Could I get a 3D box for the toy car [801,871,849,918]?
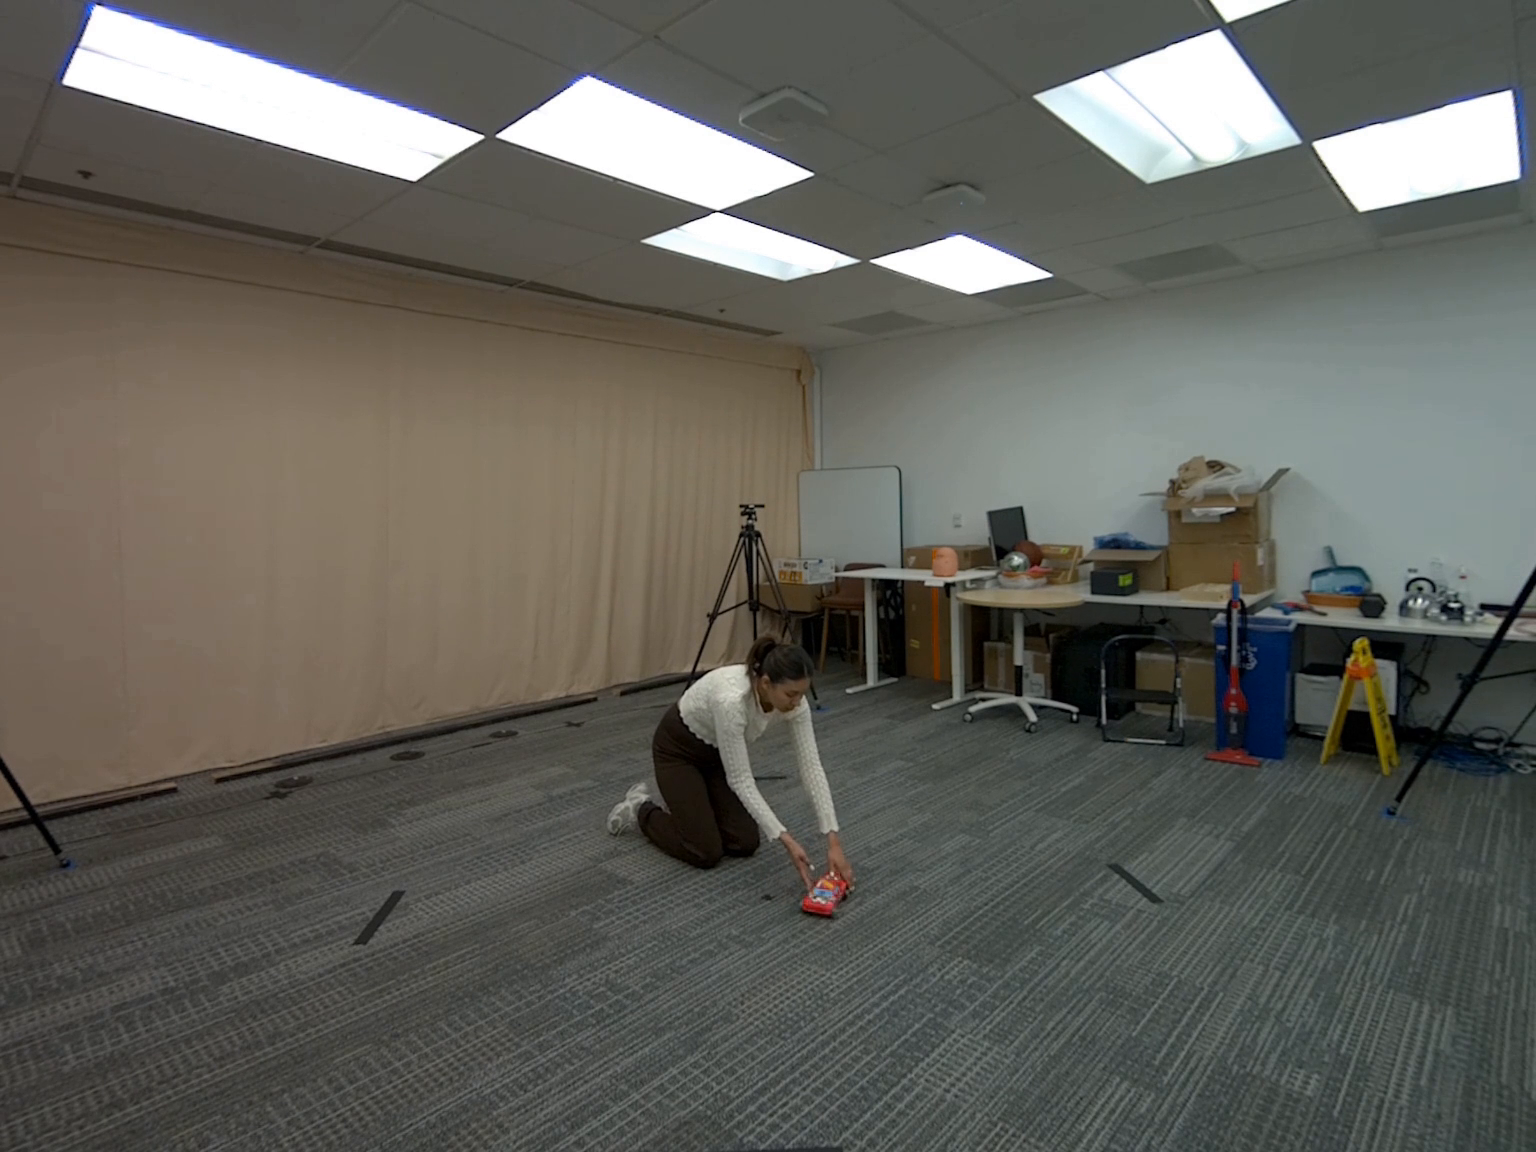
[{"bbox_3d":[0.210,1.108,2.939,0.134,0.082,0.250,2,15,24],"label":"toy car"}]
